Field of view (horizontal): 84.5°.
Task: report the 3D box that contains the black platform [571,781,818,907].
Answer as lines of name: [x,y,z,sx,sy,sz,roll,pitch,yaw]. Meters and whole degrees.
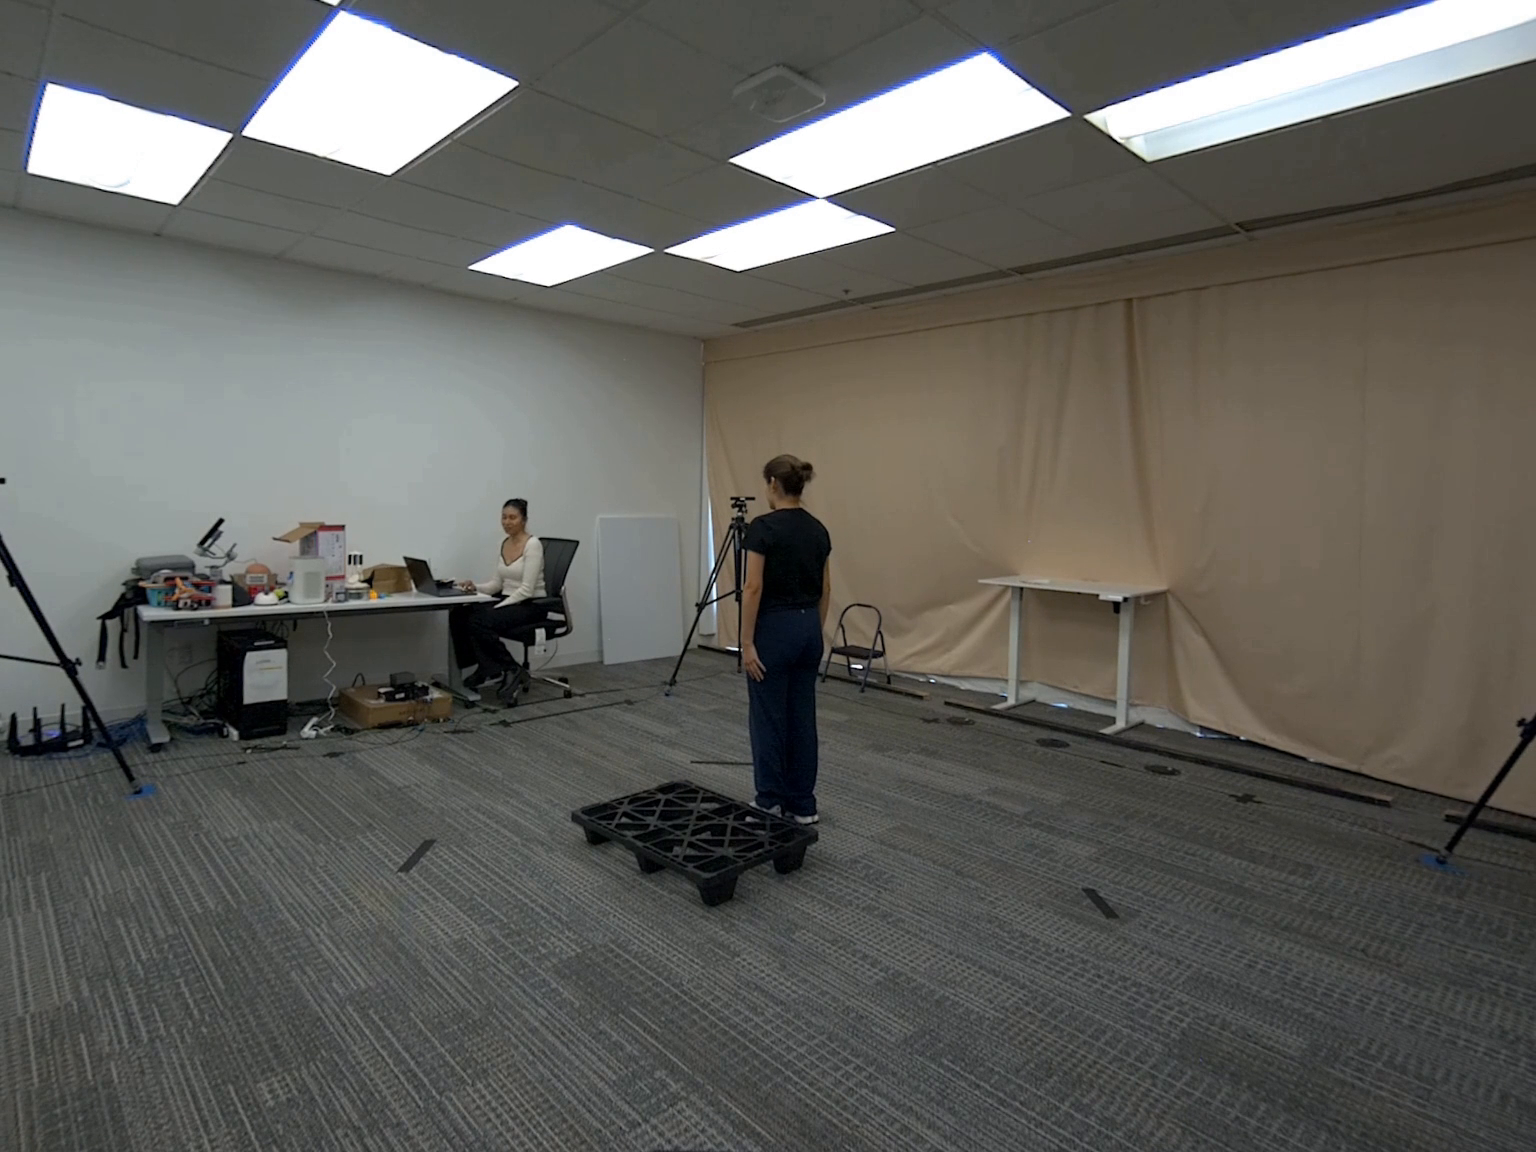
black platform: [-0.302,1.024,3.269,0.826,0.143,0.591,6,7,43]
